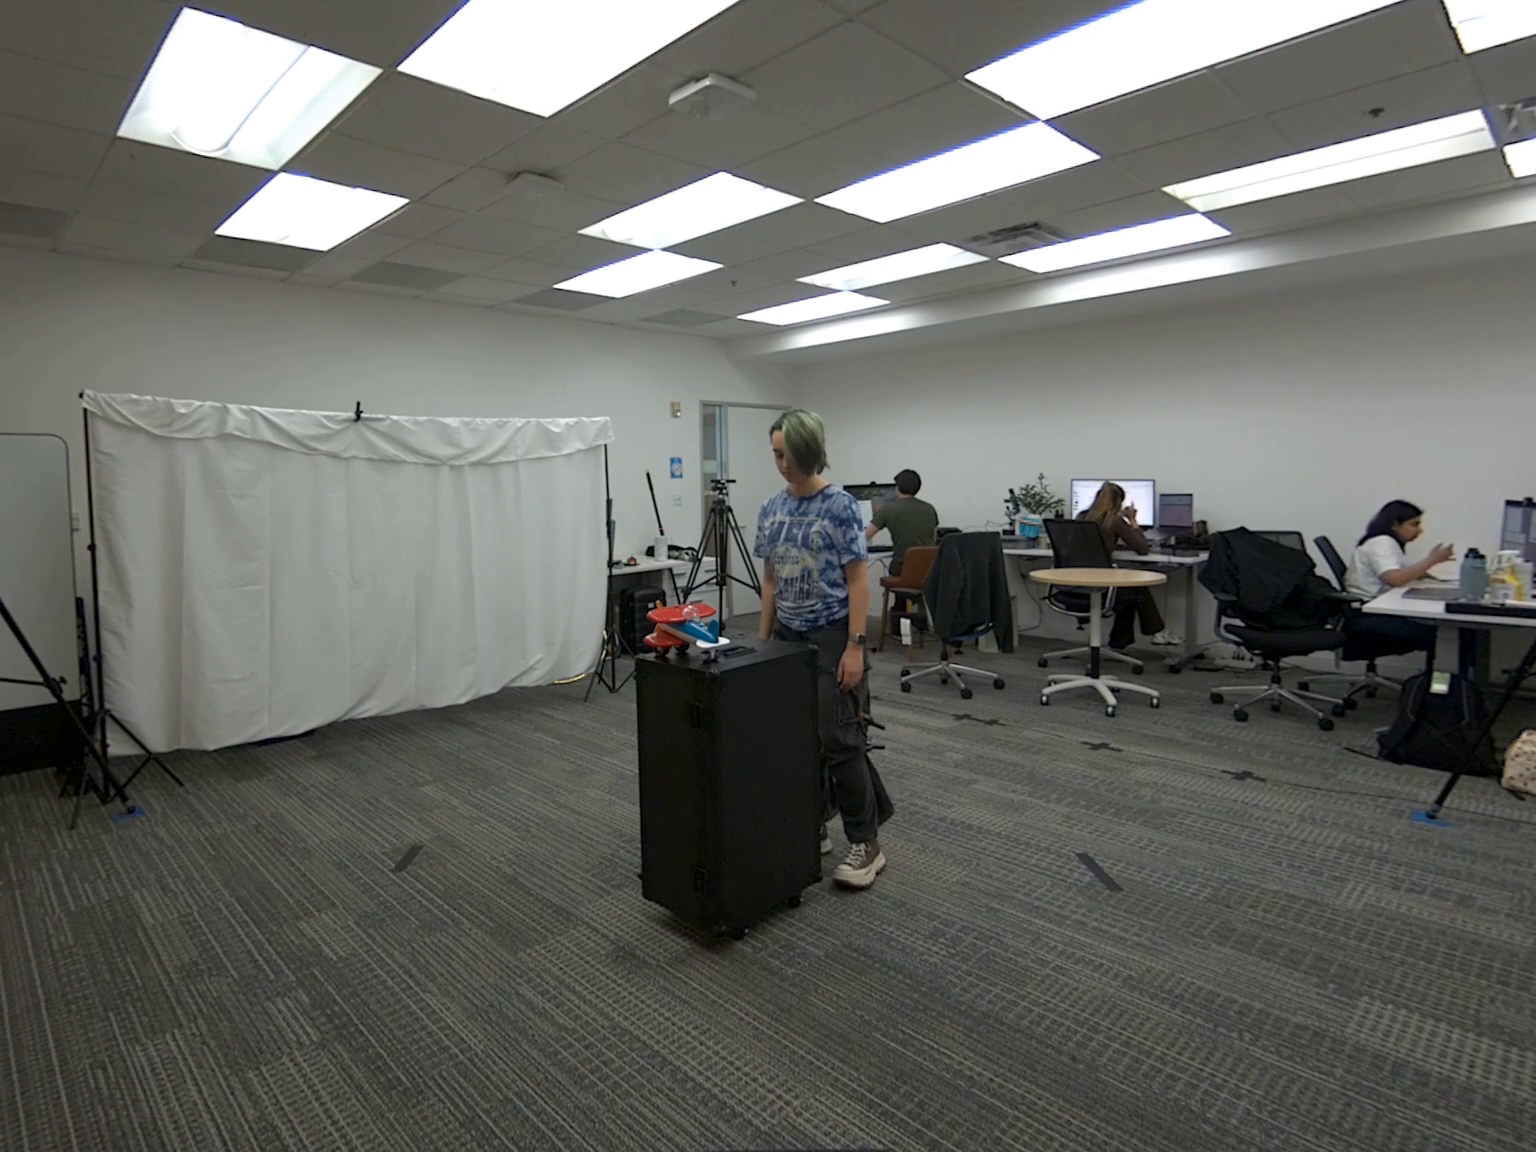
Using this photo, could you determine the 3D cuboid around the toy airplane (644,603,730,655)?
[{"bbox_3d":[-0.221,0.177,2.668,0.263,0.156,0.248,0,4,15],"label":"toy airplane"}]
